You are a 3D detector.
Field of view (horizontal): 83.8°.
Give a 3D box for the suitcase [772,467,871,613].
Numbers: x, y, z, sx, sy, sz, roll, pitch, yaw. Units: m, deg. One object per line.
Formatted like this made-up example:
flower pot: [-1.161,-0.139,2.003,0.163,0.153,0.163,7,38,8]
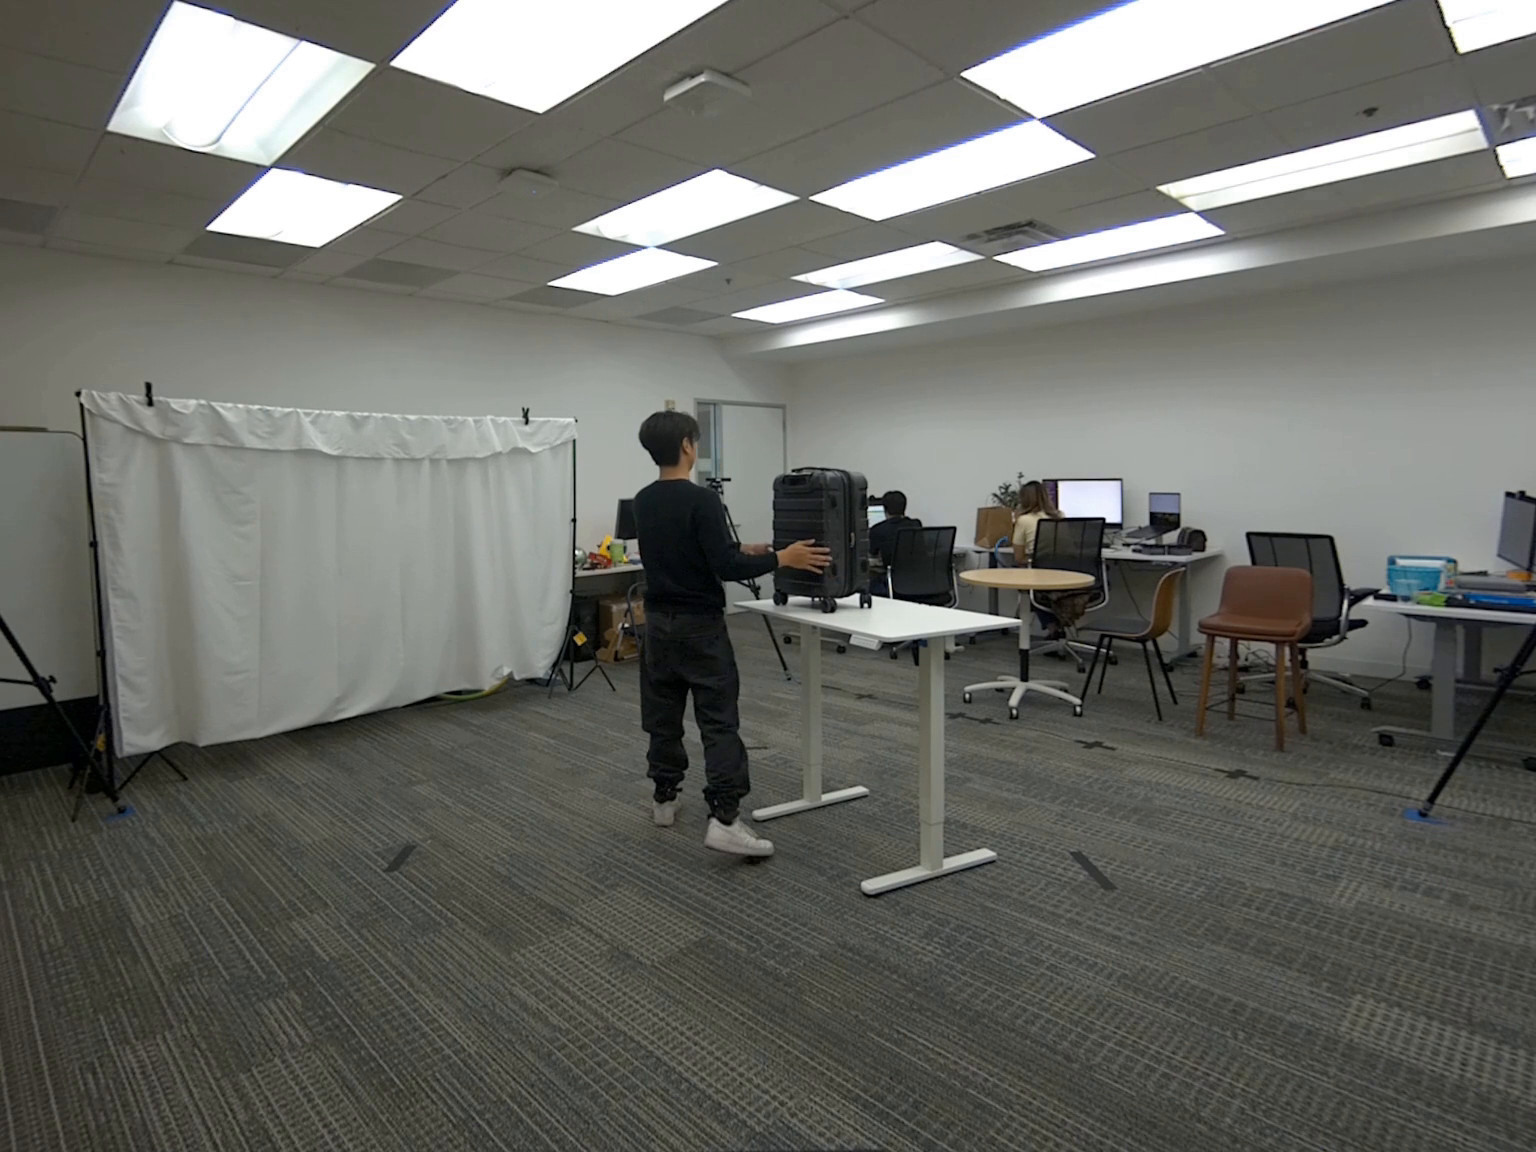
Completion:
suitcase: [0.204,-0.156,3.409,0.242,0.549,0.386,-2,2,-36]
